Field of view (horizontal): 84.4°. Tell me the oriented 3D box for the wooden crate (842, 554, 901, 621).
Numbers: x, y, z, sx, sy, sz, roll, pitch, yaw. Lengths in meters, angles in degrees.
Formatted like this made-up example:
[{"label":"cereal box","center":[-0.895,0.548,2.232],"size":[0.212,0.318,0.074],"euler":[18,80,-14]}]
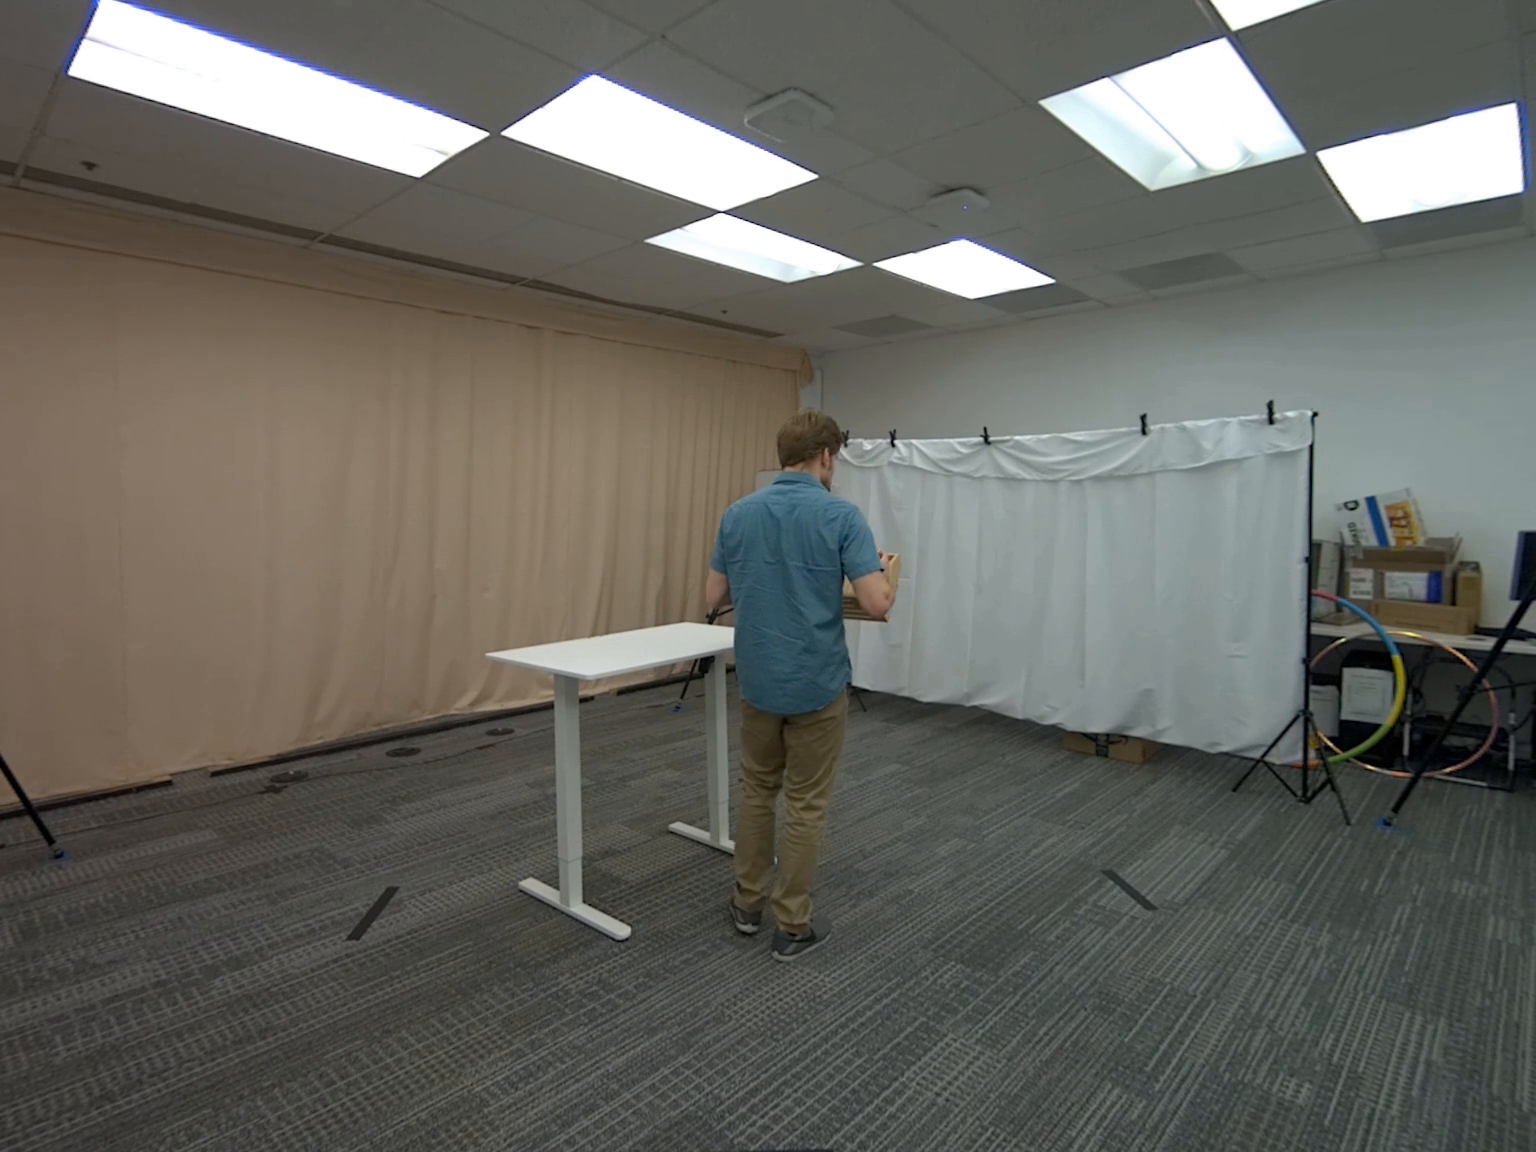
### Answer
[{"label":"wooden crate","center":[0.257,-0.003,2.898],"size":[0.334,0.304,0.264],"euler":[2,-31,29]}]
